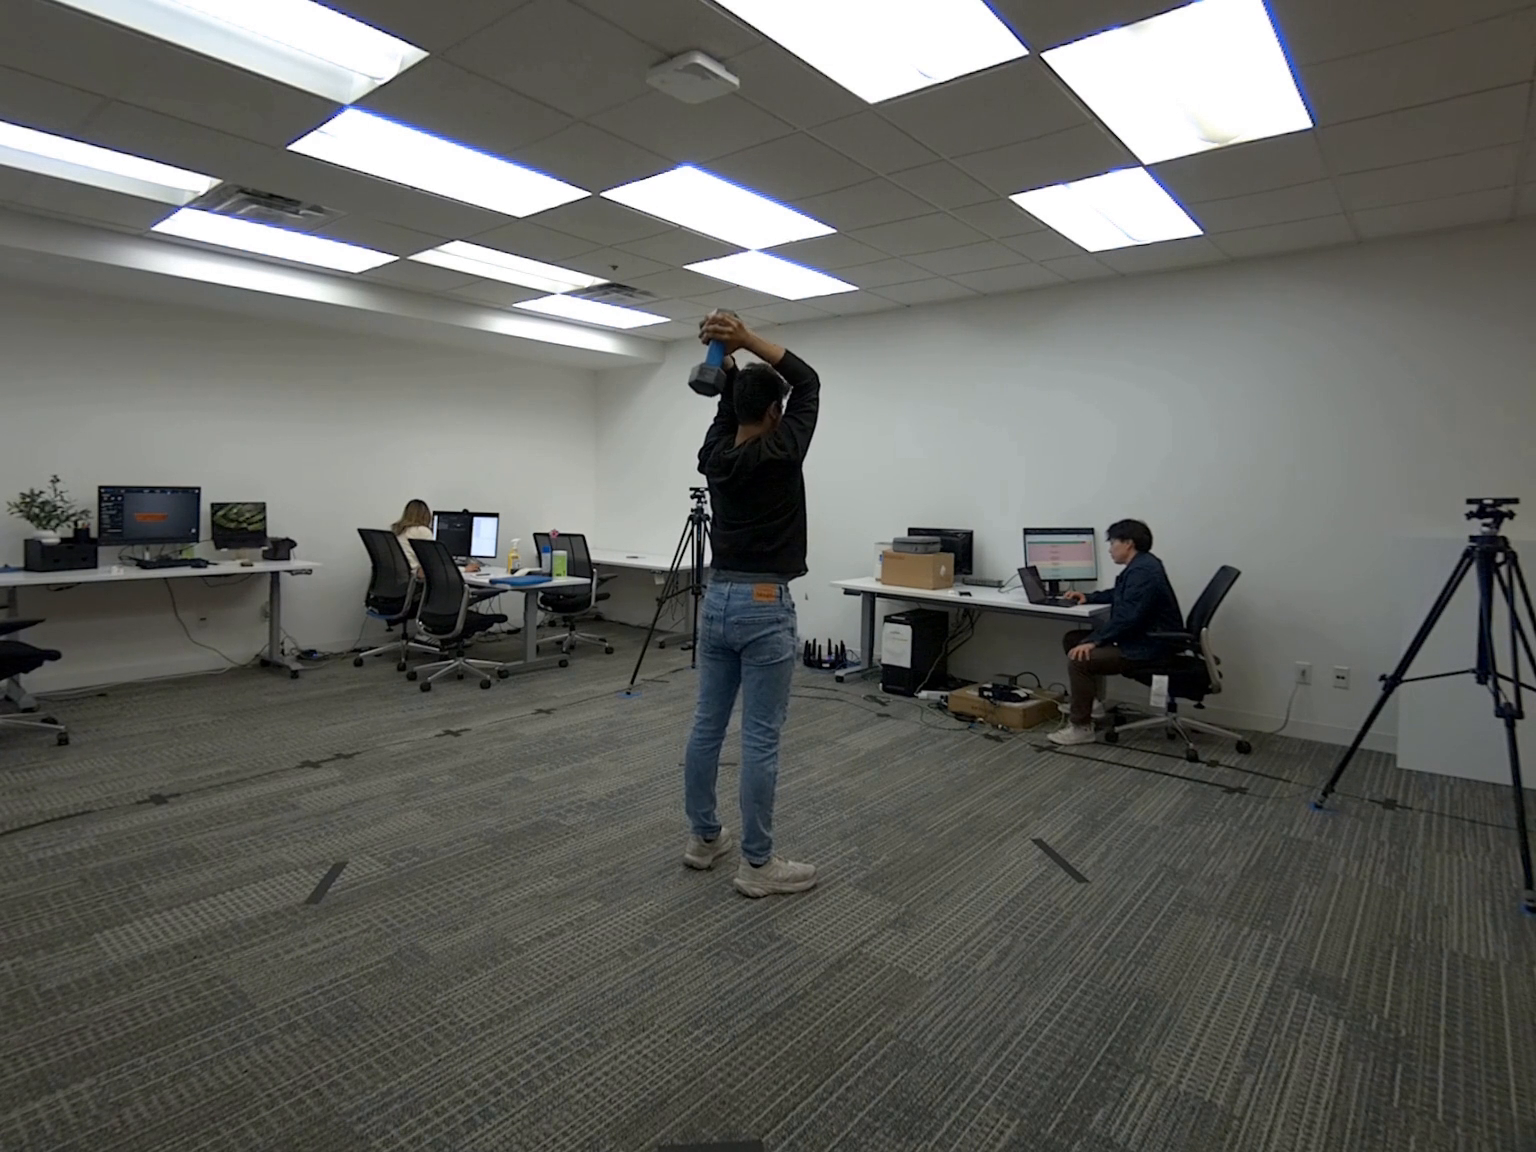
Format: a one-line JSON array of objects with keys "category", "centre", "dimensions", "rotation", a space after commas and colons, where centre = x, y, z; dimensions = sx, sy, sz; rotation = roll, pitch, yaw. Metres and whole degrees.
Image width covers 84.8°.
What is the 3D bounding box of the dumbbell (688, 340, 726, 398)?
[{"category": "dumbbell", "centre": [-0.180, -0.752, 2.899], "dimensions": [0.105, 0.296, 0.126], "rotation": [23, -15, -27]}]
